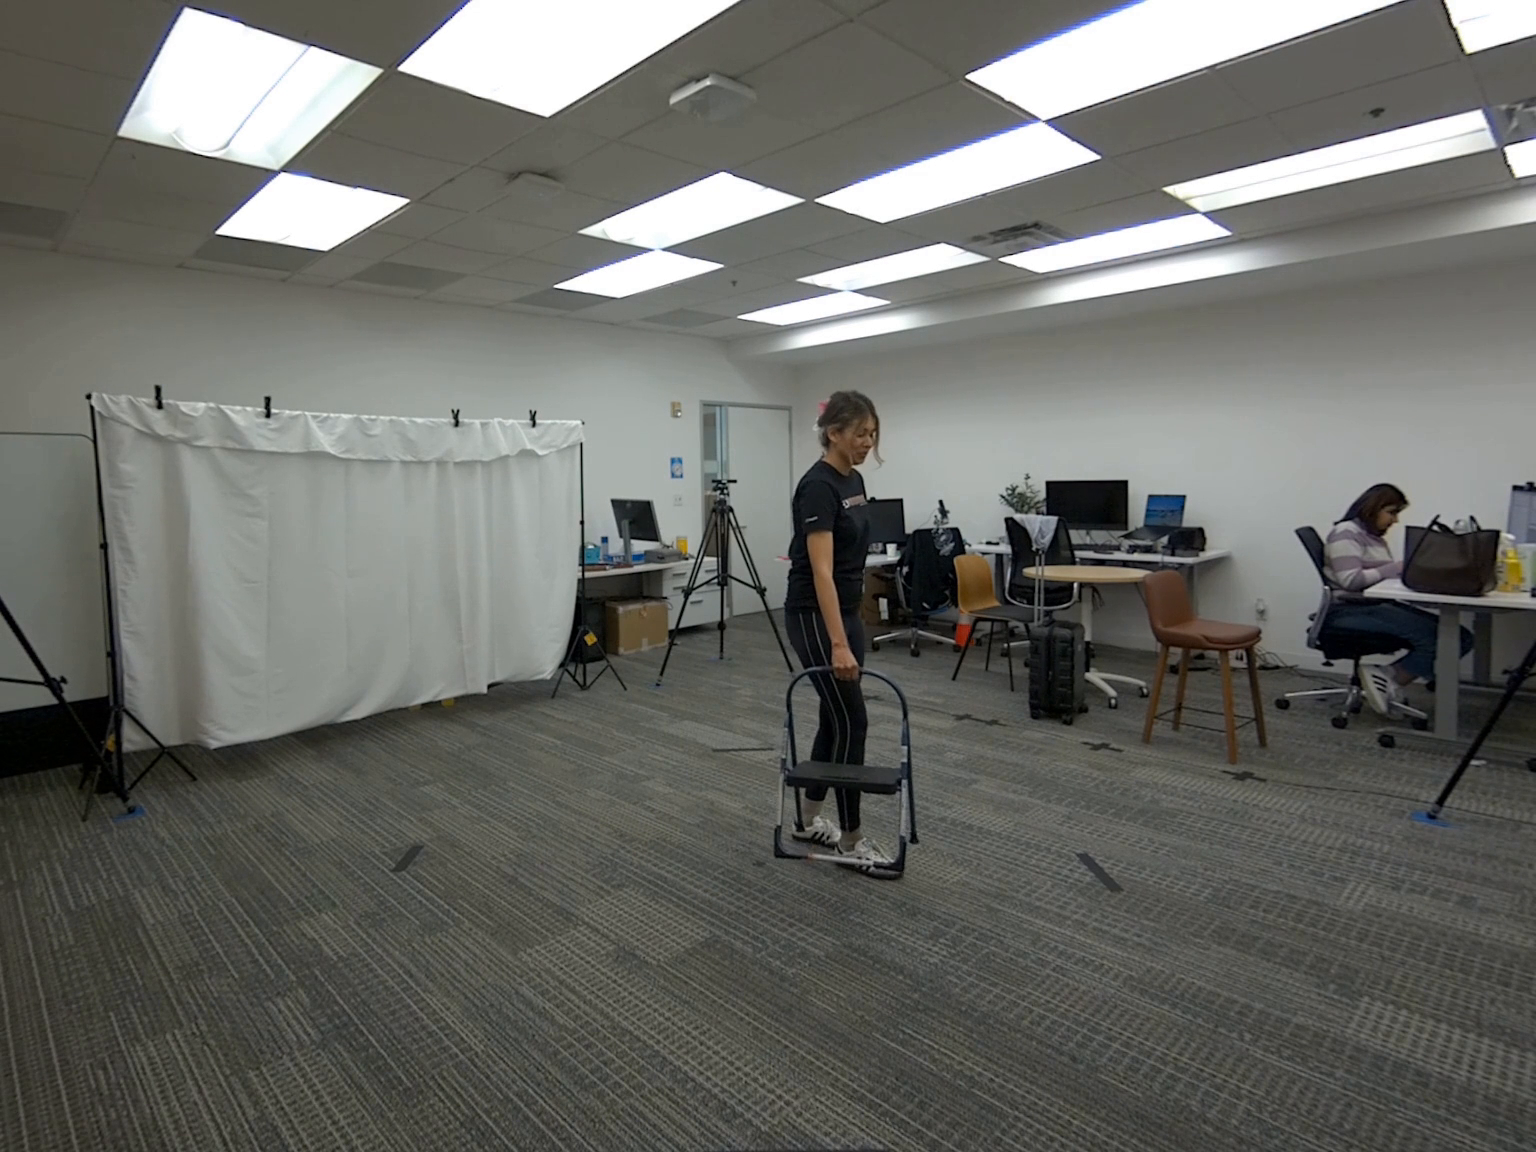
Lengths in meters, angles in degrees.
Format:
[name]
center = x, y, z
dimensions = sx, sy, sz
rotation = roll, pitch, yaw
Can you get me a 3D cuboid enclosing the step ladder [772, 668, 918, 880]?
[step ladder]
center = 0.262, 0.608, 2.835
dimensions = 0.438, 0.608, 0.342
rotation = -1, -3, 18
